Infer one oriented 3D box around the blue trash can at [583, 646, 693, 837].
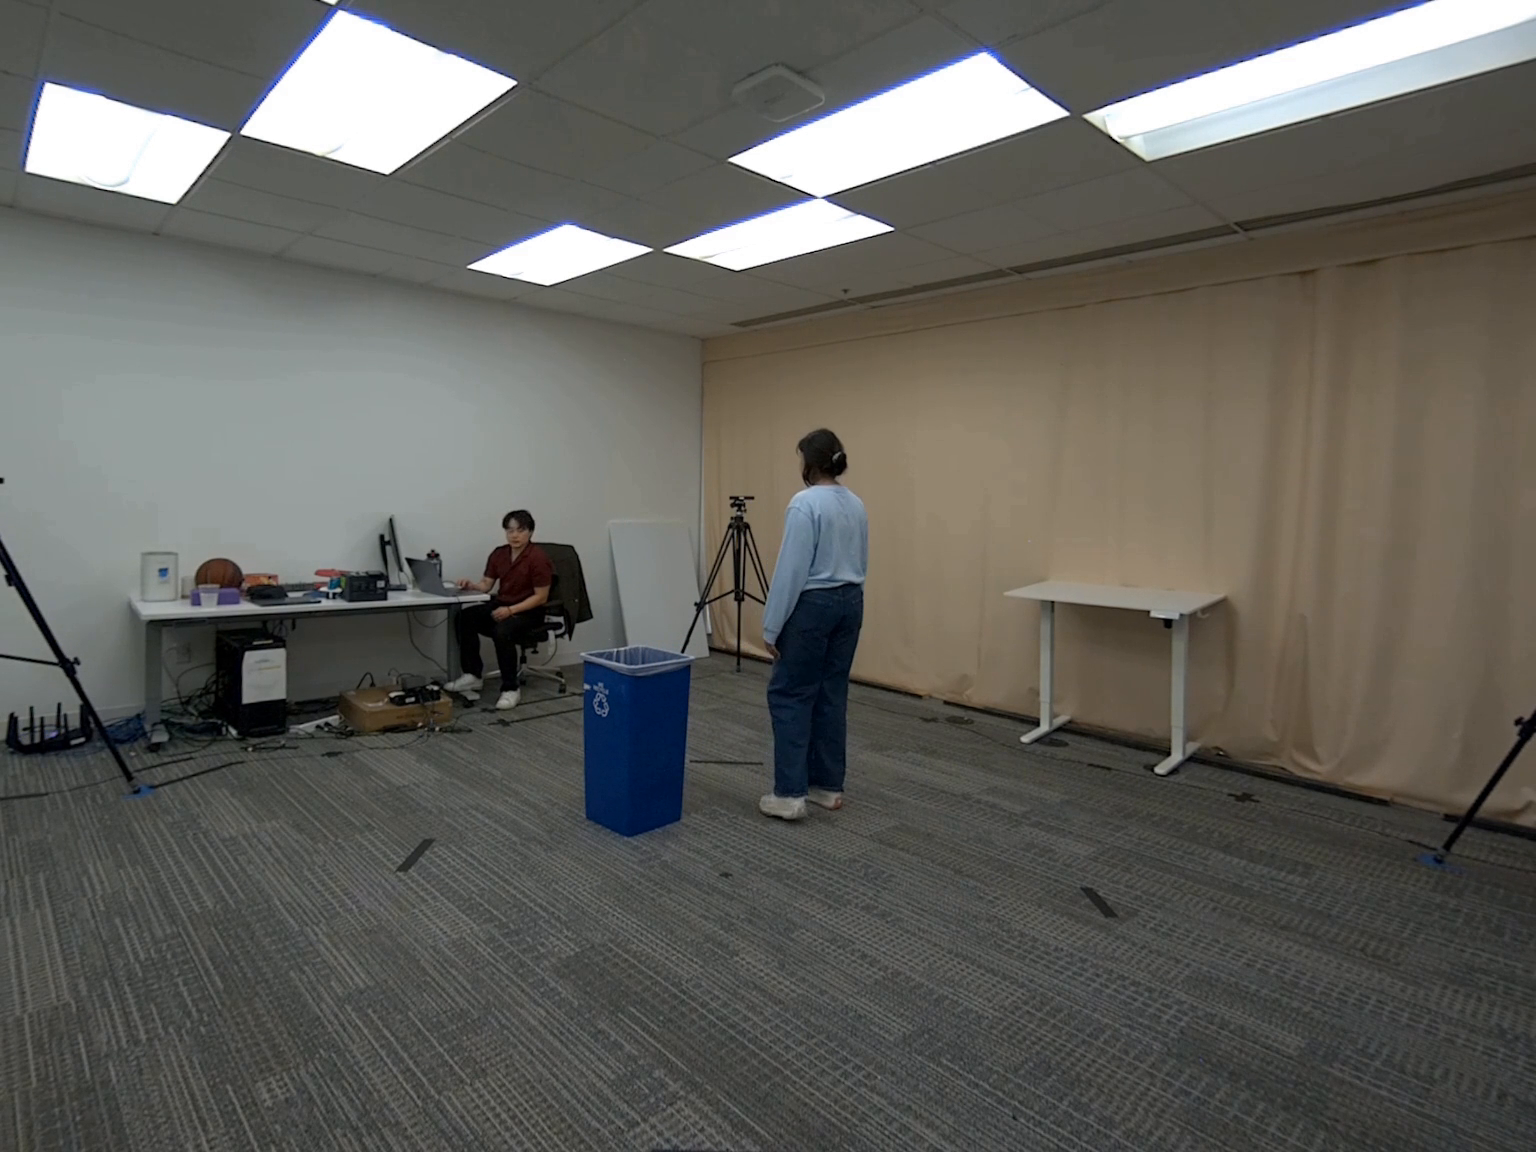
[{"bbox_3d":[-0.580,0.694,3.605,0.388,0.712,0.365,5,5,42],"label":"blue trash can"}]
